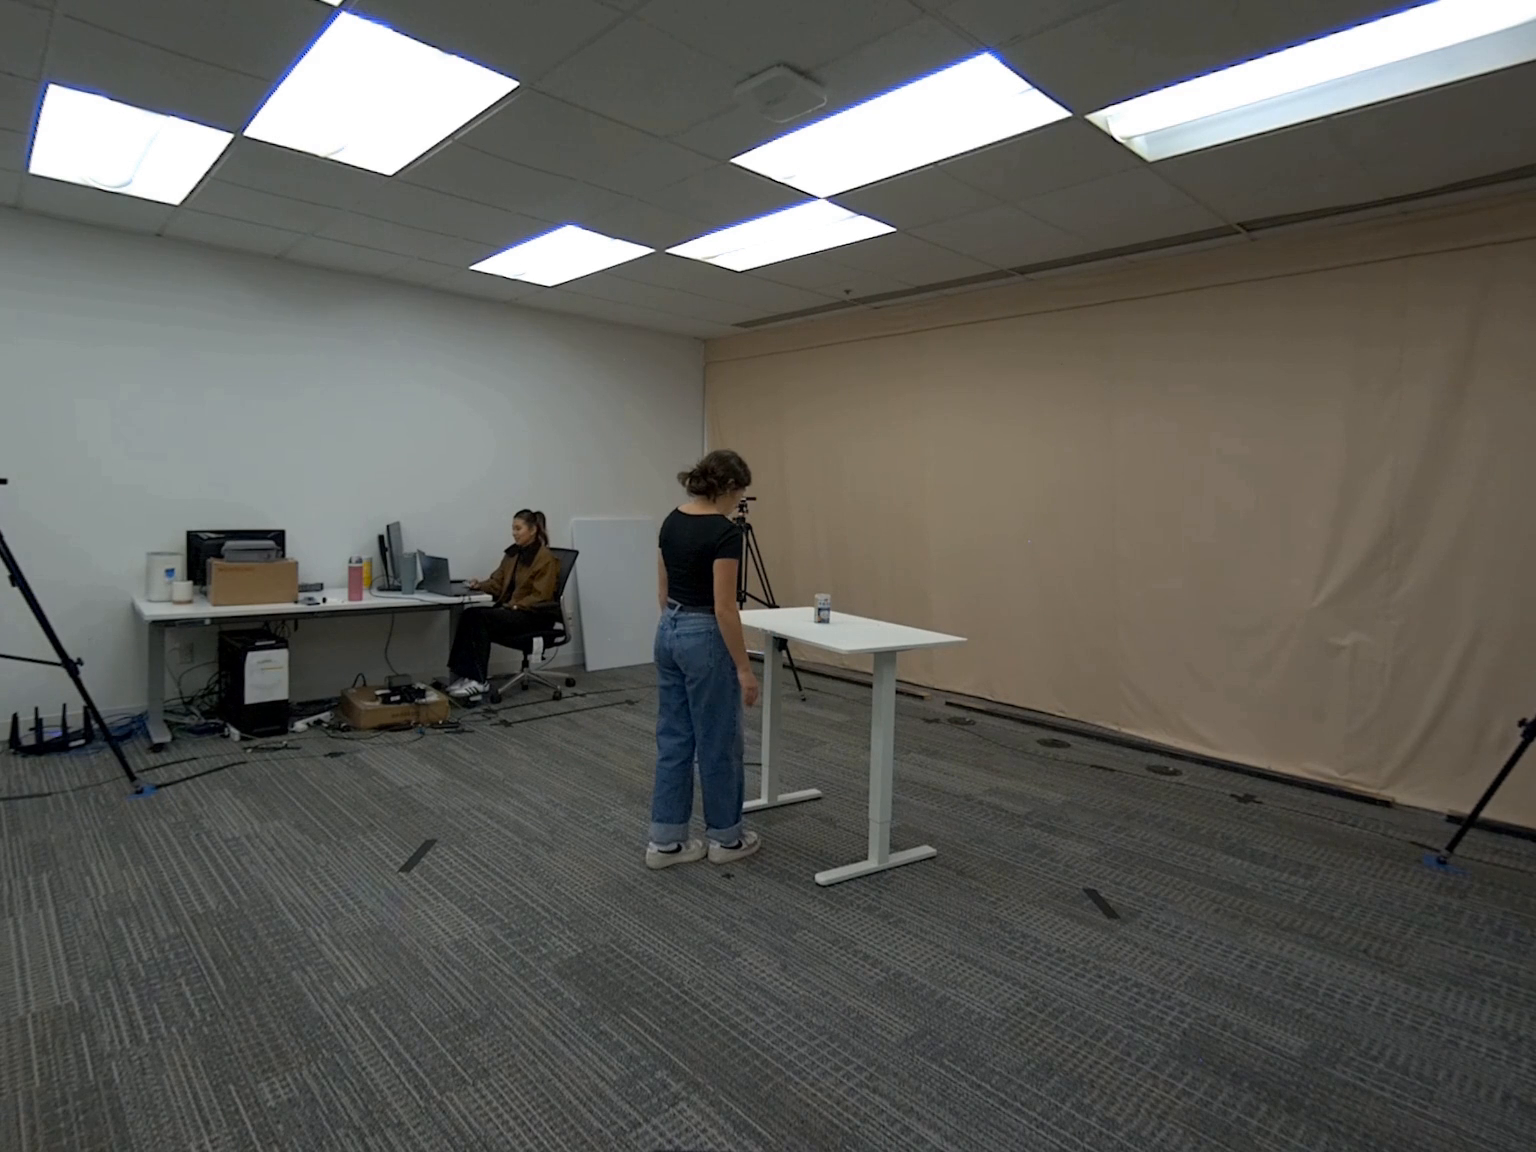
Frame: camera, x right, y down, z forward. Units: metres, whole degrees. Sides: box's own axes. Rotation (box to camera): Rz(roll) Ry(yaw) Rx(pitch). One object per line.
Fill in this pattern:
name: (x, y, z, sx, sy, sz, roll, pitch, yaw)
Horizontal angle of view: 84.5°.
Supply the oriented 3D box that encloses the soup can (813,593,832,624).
soup can: (0.220, 0.138, 3.539, 0.067, 0.121, 0.067, 3, 6, -2)
